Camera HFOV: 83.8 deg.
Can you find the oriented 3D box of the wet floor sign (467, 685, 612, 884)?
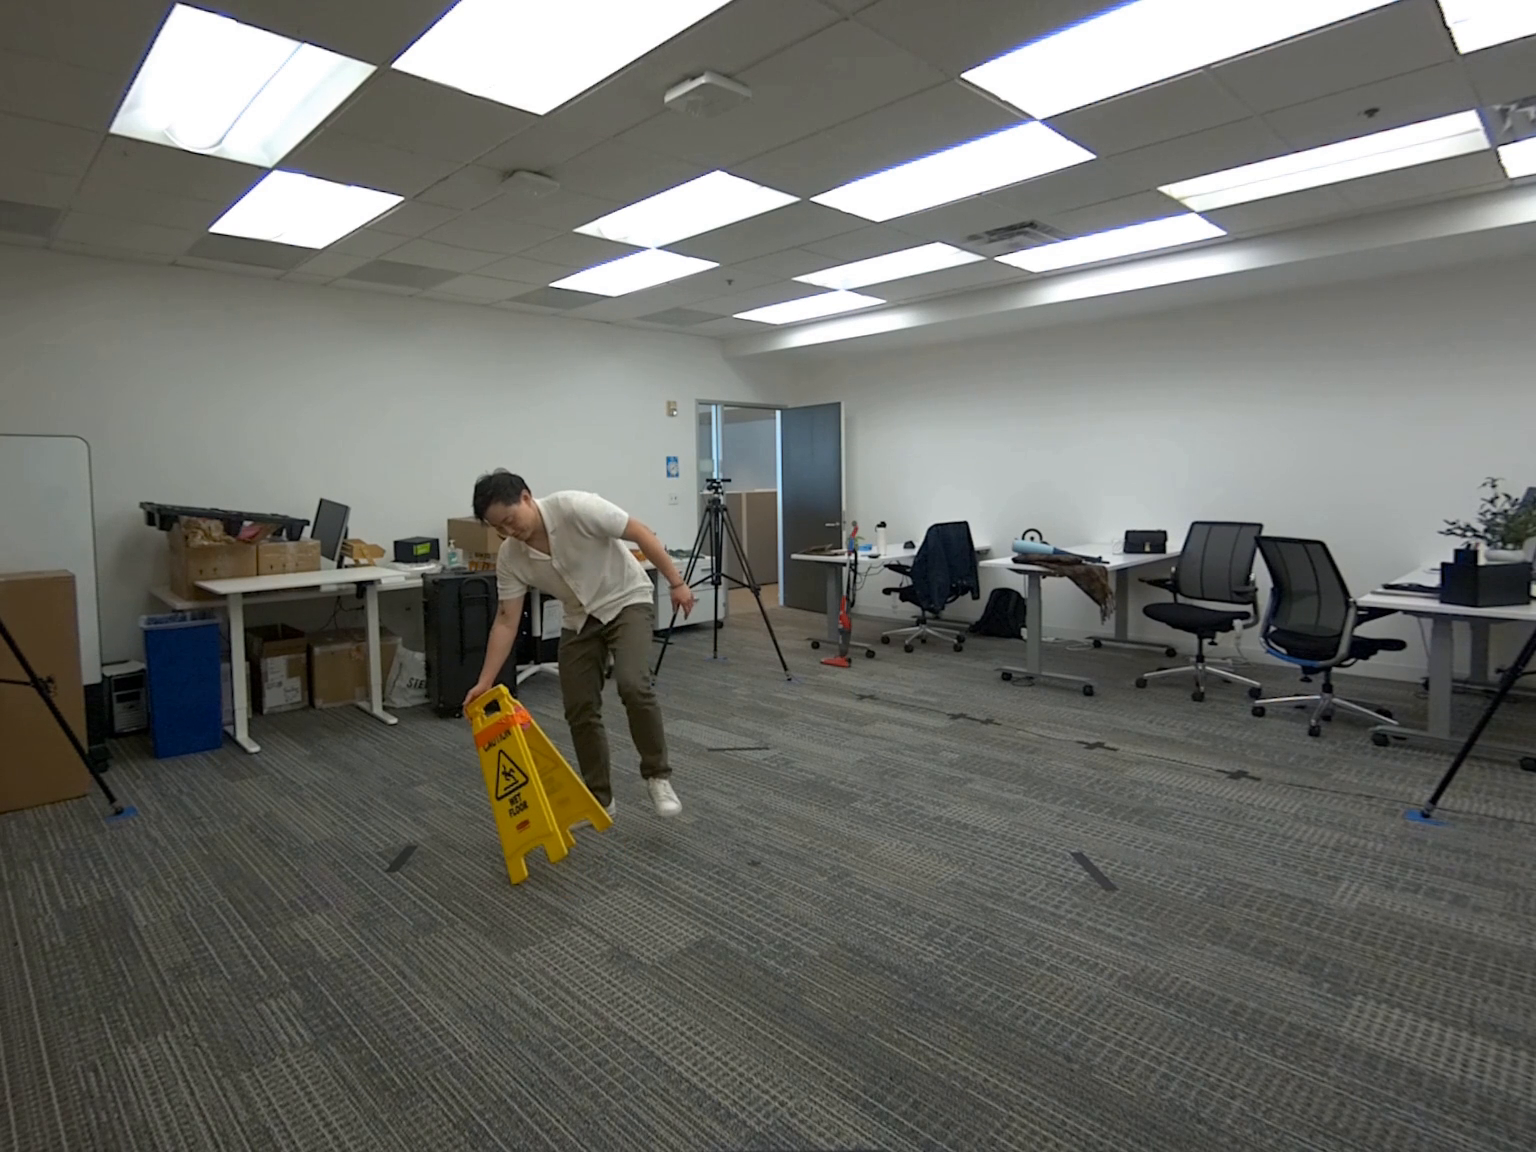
[{"bbox_3d":[-0.891,0.719,3.113,0.284,0.654,0.284,-34,-9,23],"label":"wet floor sign"}]
